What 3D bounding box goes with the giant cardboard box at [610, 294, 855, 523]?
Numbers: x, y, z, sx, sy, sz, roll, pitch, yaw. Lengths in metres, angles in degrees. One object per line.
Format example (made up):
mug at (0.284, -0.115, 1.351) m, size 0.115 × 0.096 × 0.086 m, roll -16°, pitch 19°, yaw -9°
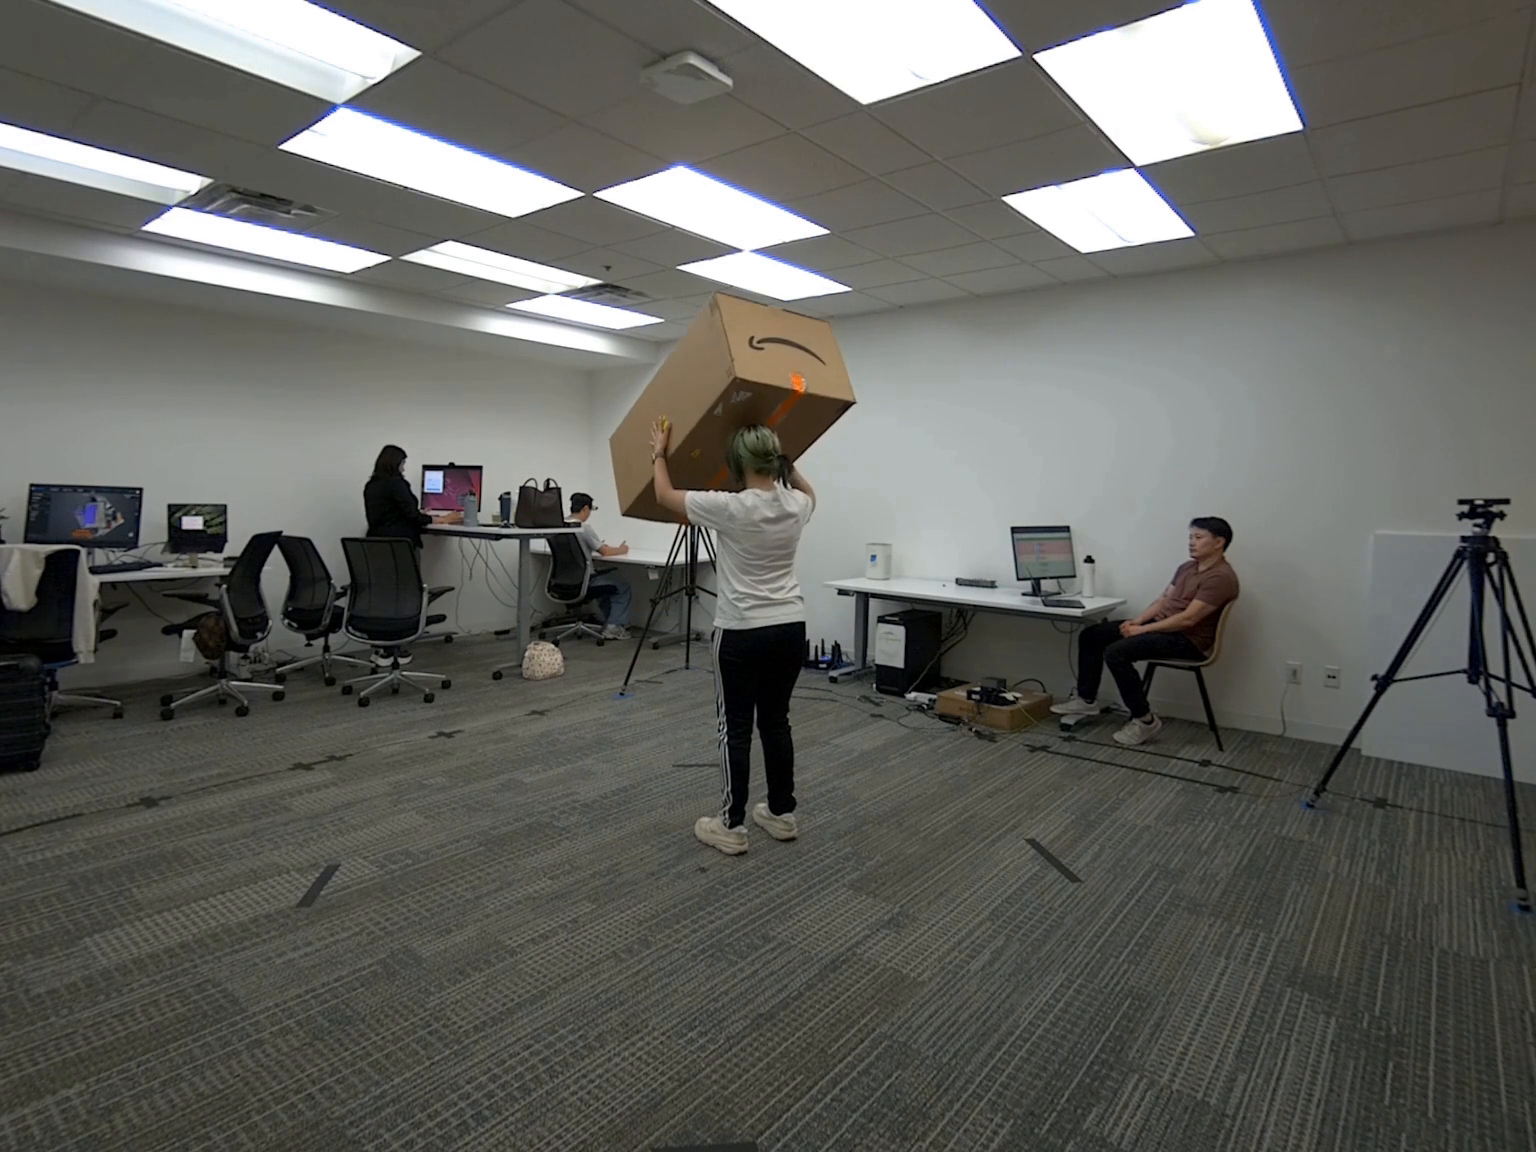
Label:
giant cardboard box at (-0.210, -0.658, 3.694) m, size 0.566 × 0.459 × 1.030 m, roll 3°, pitch -29°, yaw -35°
